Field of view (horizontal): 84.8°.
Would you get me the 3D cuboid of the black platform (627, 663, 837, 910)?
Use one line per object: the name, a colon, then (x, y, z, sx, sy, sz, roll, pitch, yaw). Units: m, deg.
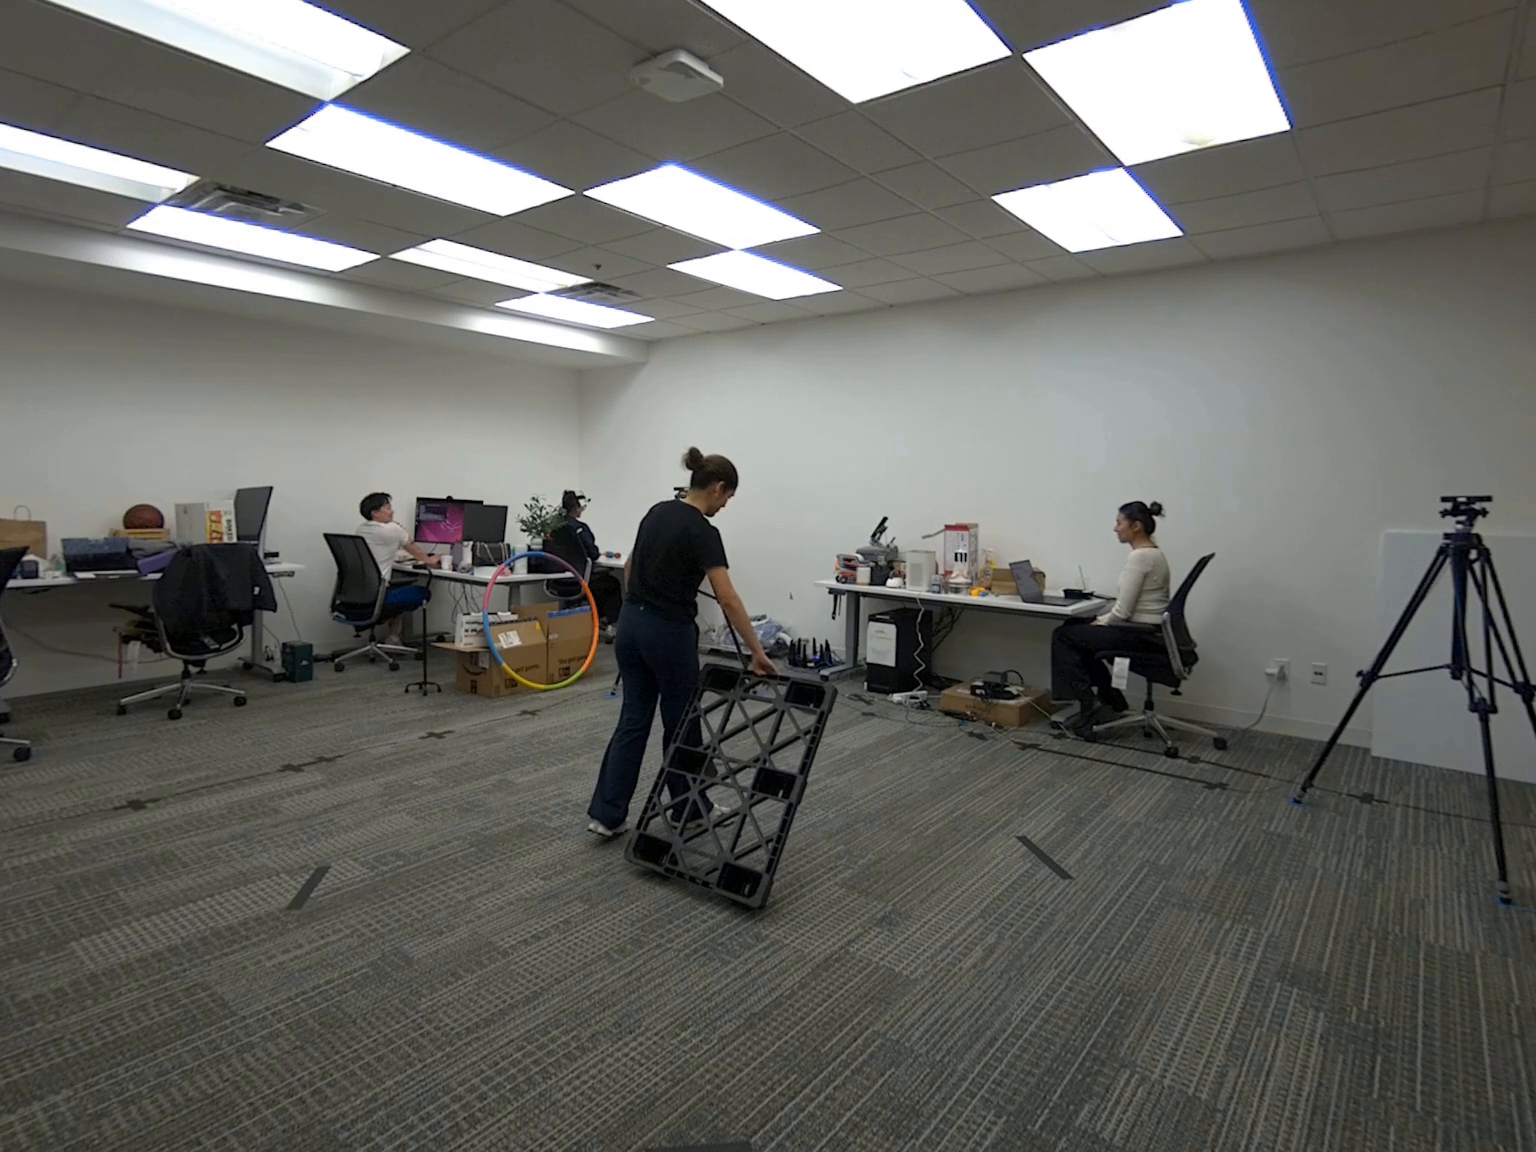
black platform: (-0.099, 0.734, 3.116, 0.625, 0.814, 0.137, 3, -30, 36)
